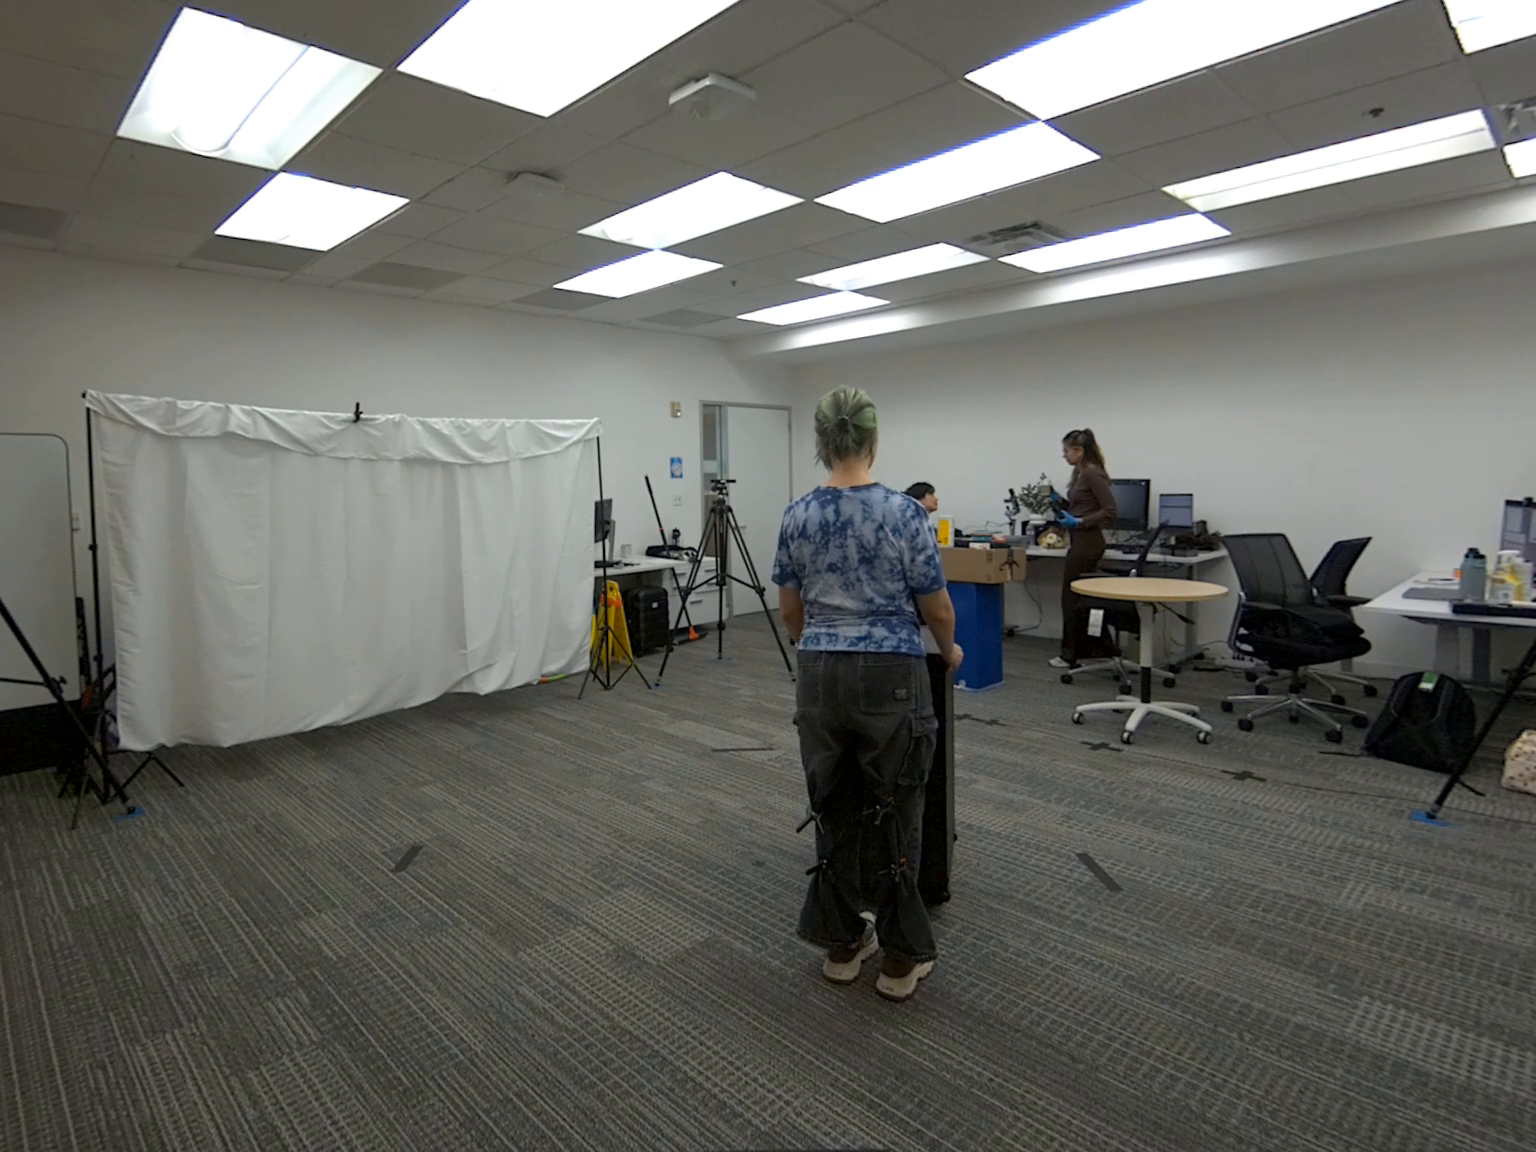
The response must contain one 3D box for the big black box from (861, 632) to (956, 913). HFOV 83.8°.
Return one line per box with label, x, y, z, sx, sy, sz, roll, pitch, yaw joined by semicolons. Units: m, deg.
big black box;0.439;0.643;2.916;0.403;0.858;0.515;-1;4;16
